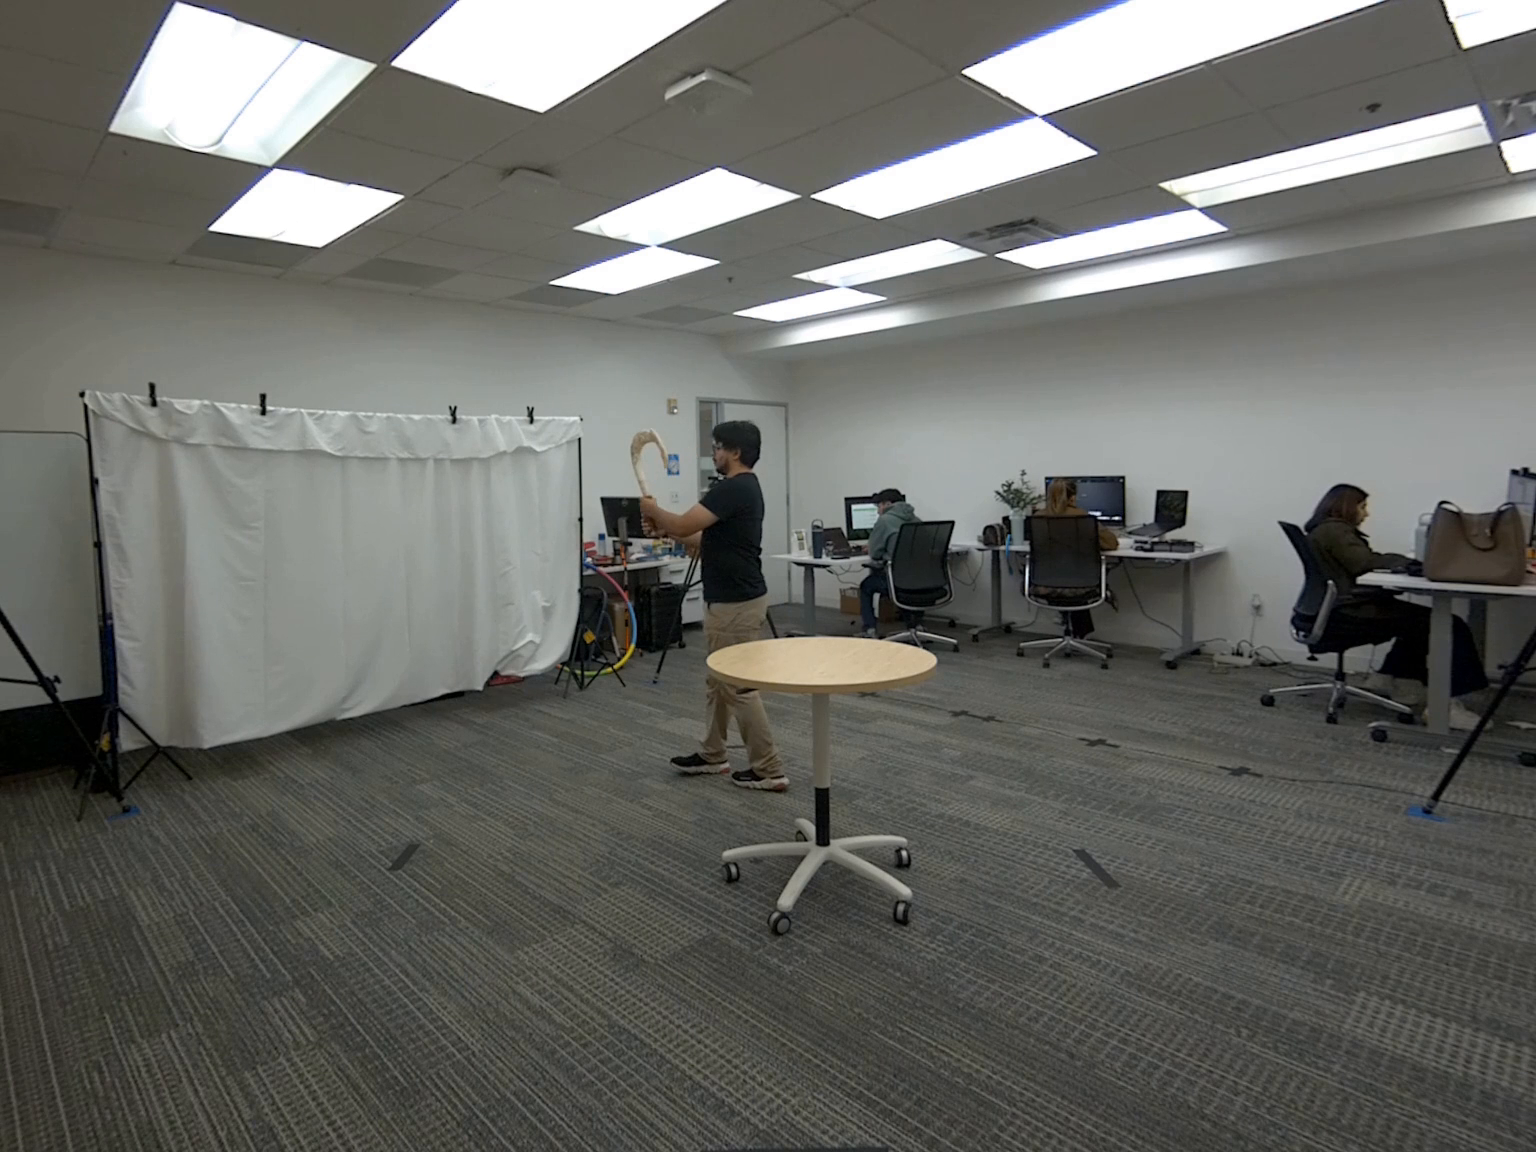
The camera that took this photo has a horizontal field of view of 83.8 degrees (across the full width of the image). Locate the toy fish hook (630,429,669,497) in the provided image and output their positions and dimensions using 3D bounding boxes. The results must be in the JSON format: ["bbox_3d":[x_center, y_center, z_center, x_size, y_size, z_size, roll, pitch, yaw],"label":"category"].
[{"bbox_3d":[-0.537,-0.439,4.015,0.231,0.504,0.047,-4,6,41],"label":"toy fish hook"}]
